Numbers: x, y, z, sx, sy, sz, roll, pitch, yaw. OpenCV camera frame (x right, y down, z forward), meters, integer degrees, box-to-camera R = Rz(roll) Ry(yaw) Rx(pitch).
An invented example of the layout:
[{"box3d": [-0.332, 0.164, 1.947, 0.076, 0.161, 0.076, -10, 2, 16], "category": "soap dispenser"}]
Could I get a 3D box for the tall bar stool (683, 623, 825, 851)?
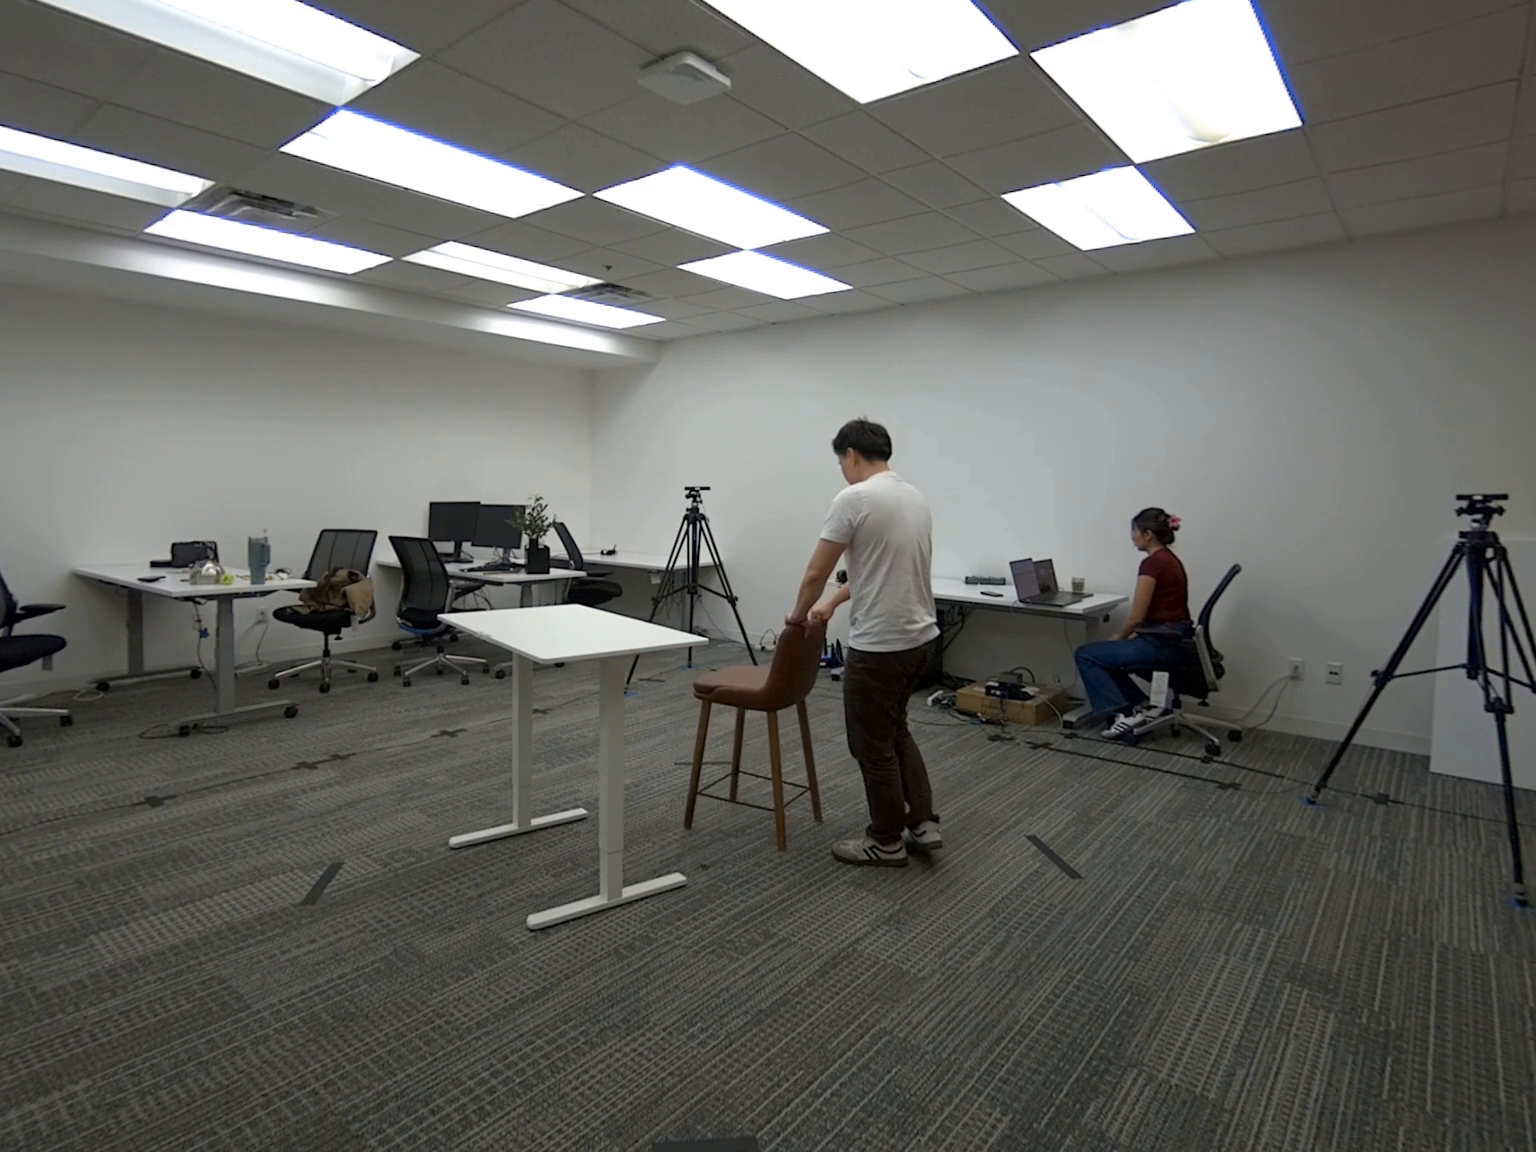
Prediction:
[{"box3d": [-0.047, 0.590, 3.506, 0.481, 0.886, 0.445, 5, 5, 29], "category": "tall bar stool"}]
